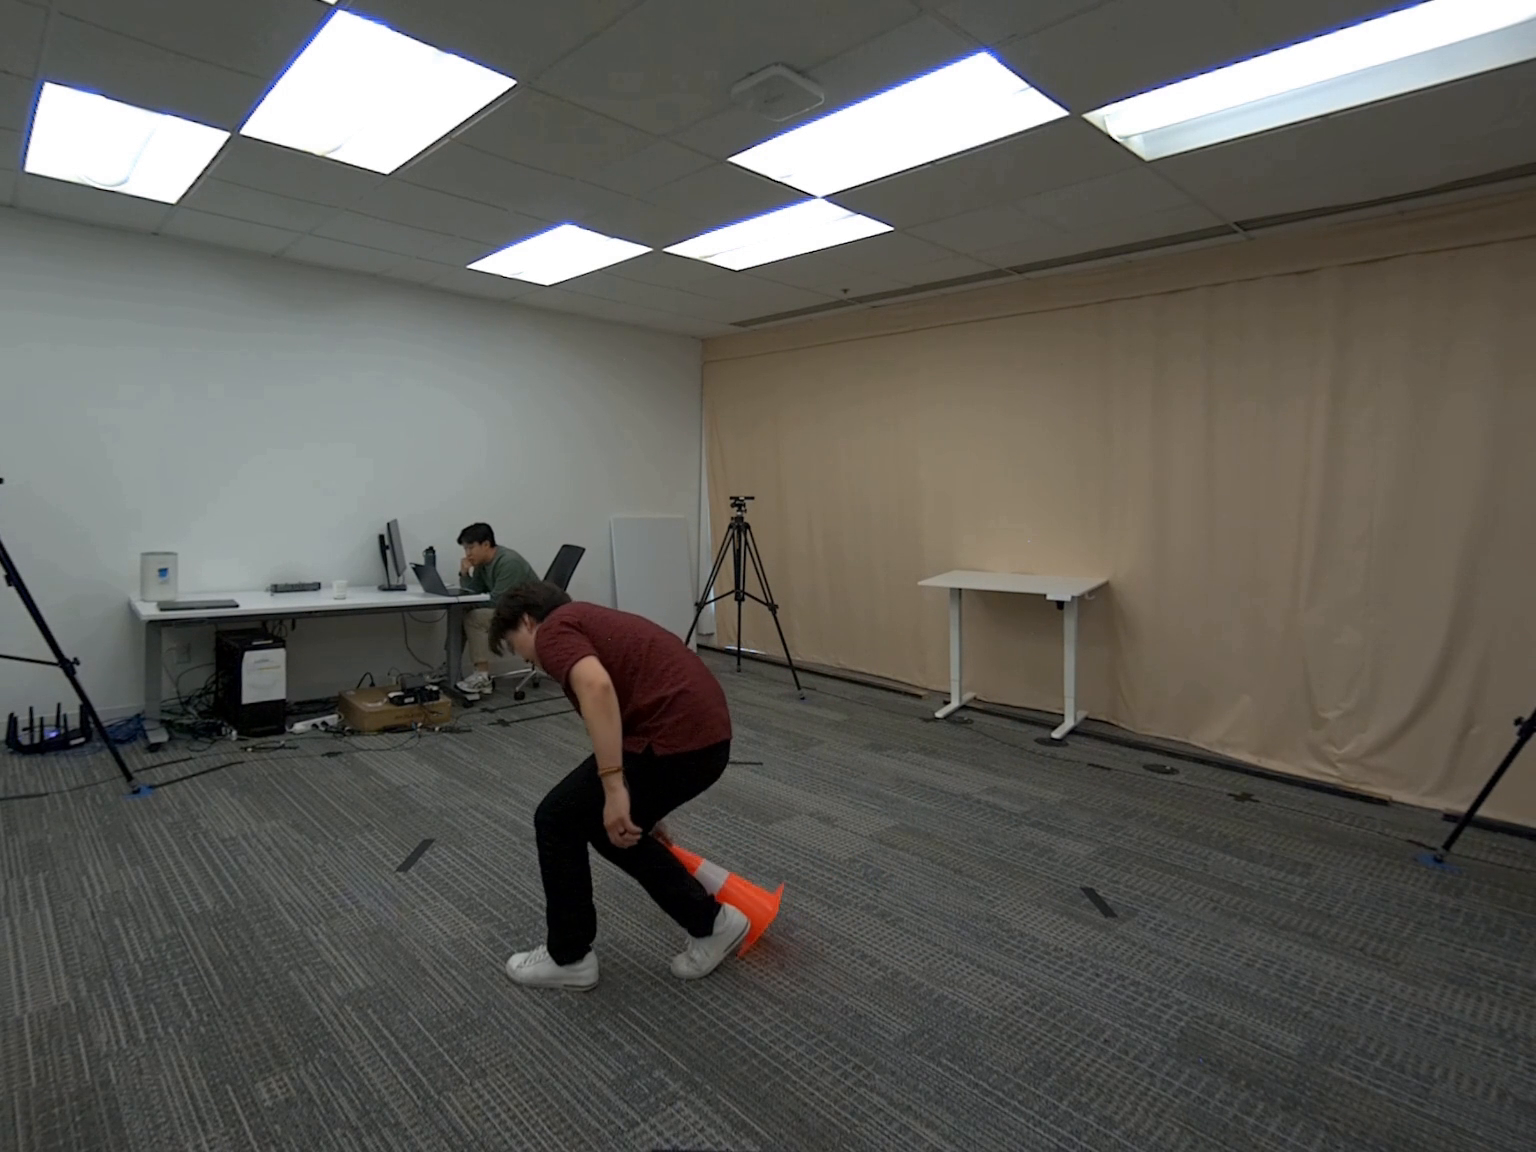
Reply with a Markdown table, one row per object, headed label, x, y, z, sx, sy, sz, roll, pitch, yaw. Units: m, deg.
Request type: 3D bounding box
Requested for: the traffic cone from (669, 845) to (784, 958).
| label | x | y | z | sx | sy | sz | roll | pitch | yaw |
| --- | --- | --- | --- | --- | --- | --- | --- | --- | --- |
| traffic cone | -0.173 | 0.965 | 2.620 | 0.384 | 0.203 | 0.205 | 34 | 17 | 1 |
